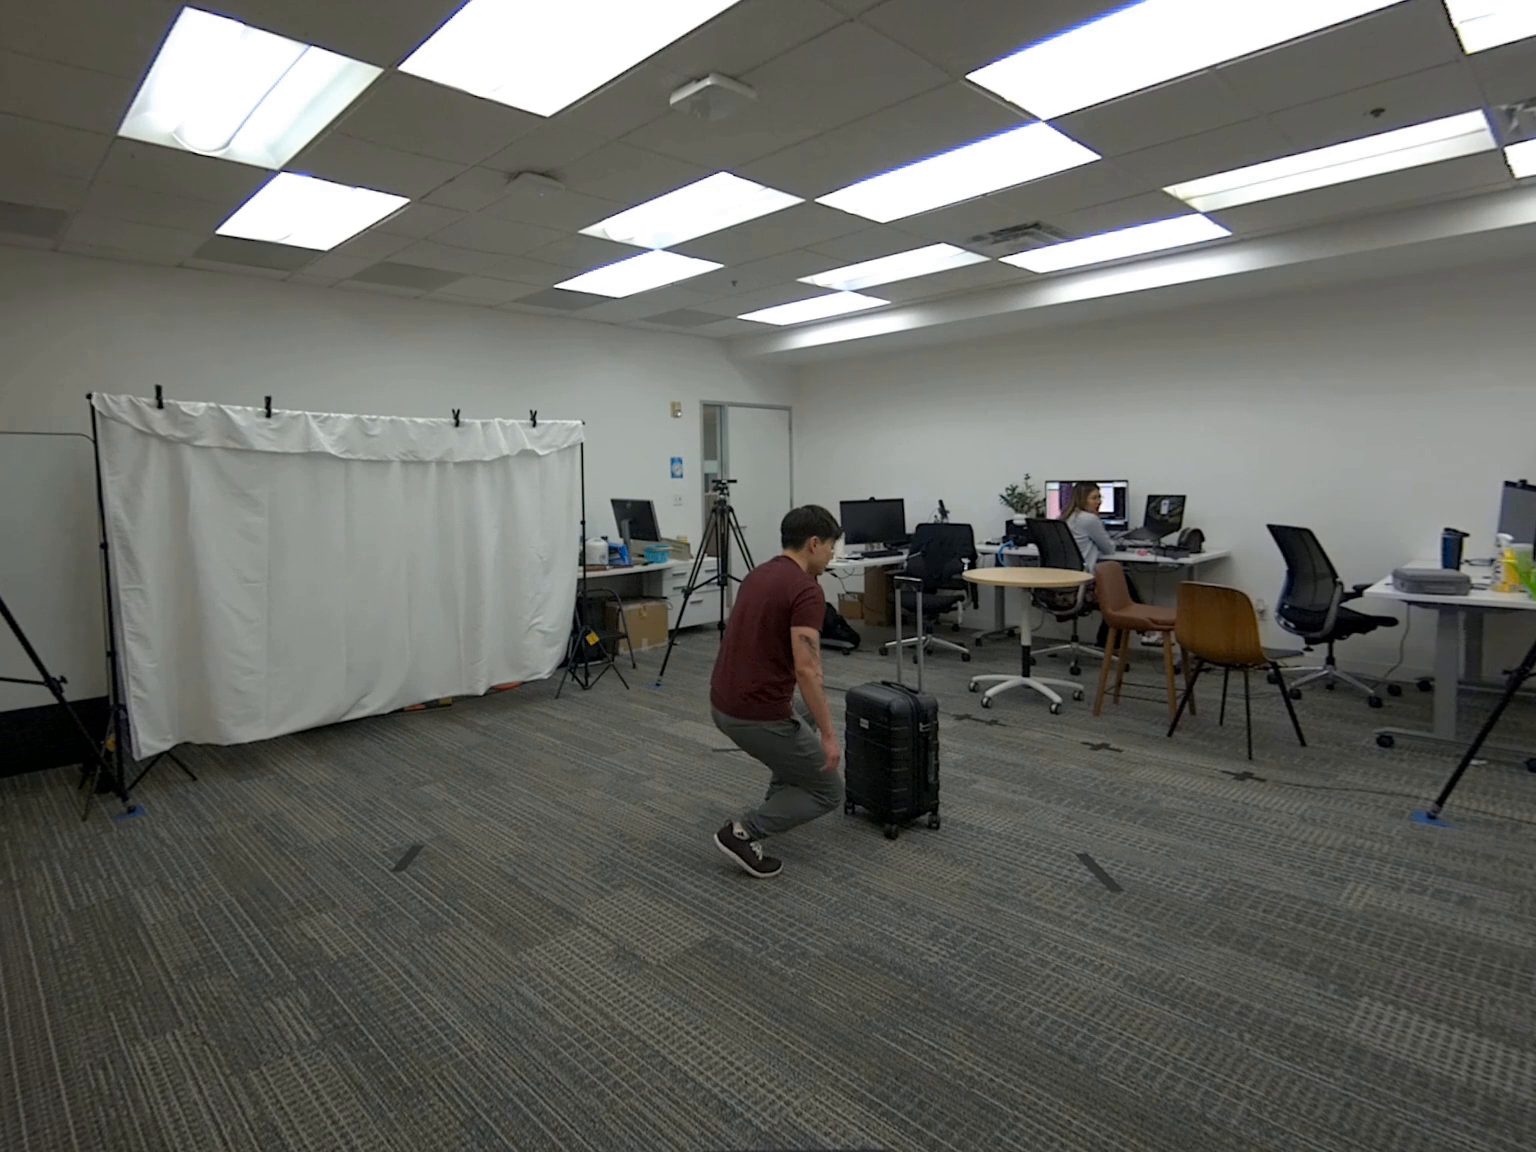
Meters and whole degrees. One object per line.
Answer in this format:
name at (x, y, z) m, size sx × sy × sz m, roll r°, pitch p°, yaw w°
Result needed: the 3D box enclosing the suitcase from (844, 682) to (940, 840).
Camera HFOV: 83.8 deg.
suitcase at (0.495, 0.512, 3.477) m, size 0.251 × 0.976 × 0.393 m, roll -3°, pitch 3°, yaw -28°
